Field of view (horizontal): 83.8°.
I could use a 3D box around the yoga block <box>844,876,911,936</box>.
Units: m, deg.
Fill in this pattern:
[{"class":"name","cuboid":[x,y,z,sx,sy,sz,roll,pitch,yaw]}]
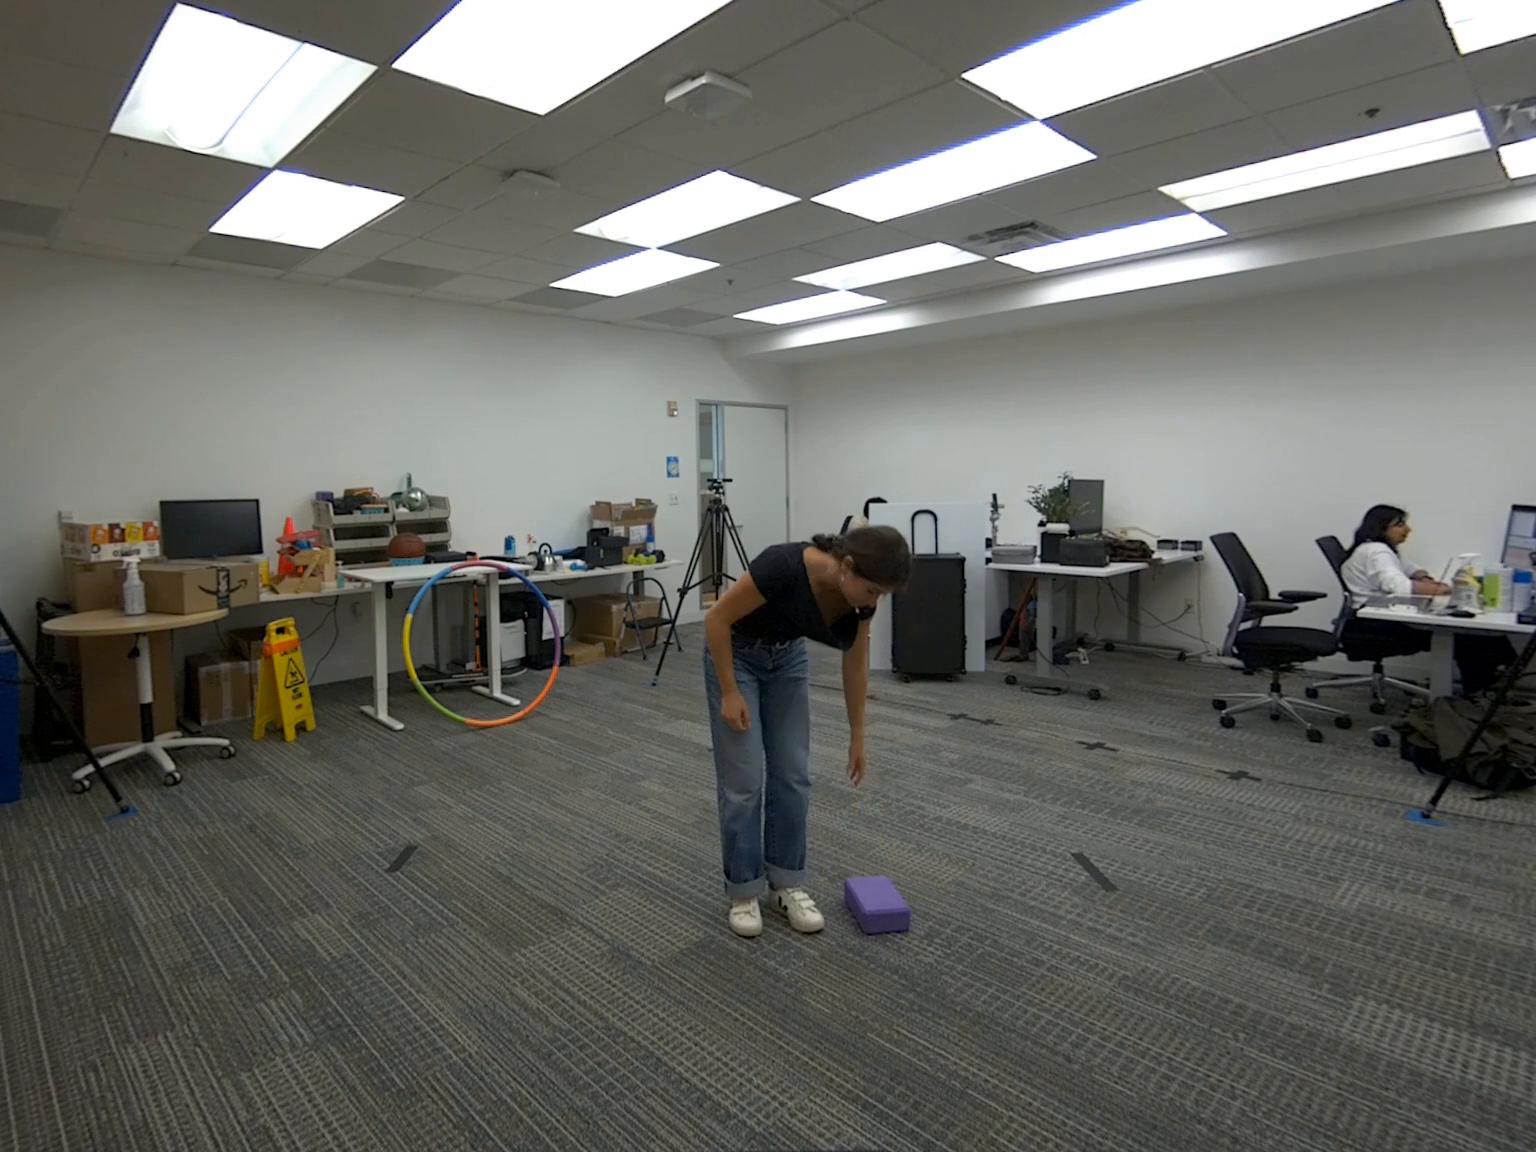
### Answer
[{"class":"yoga block","cuboid":[0.344,1.034,2.714,0.148,0.076,0.232,-1,4,-10]}]
